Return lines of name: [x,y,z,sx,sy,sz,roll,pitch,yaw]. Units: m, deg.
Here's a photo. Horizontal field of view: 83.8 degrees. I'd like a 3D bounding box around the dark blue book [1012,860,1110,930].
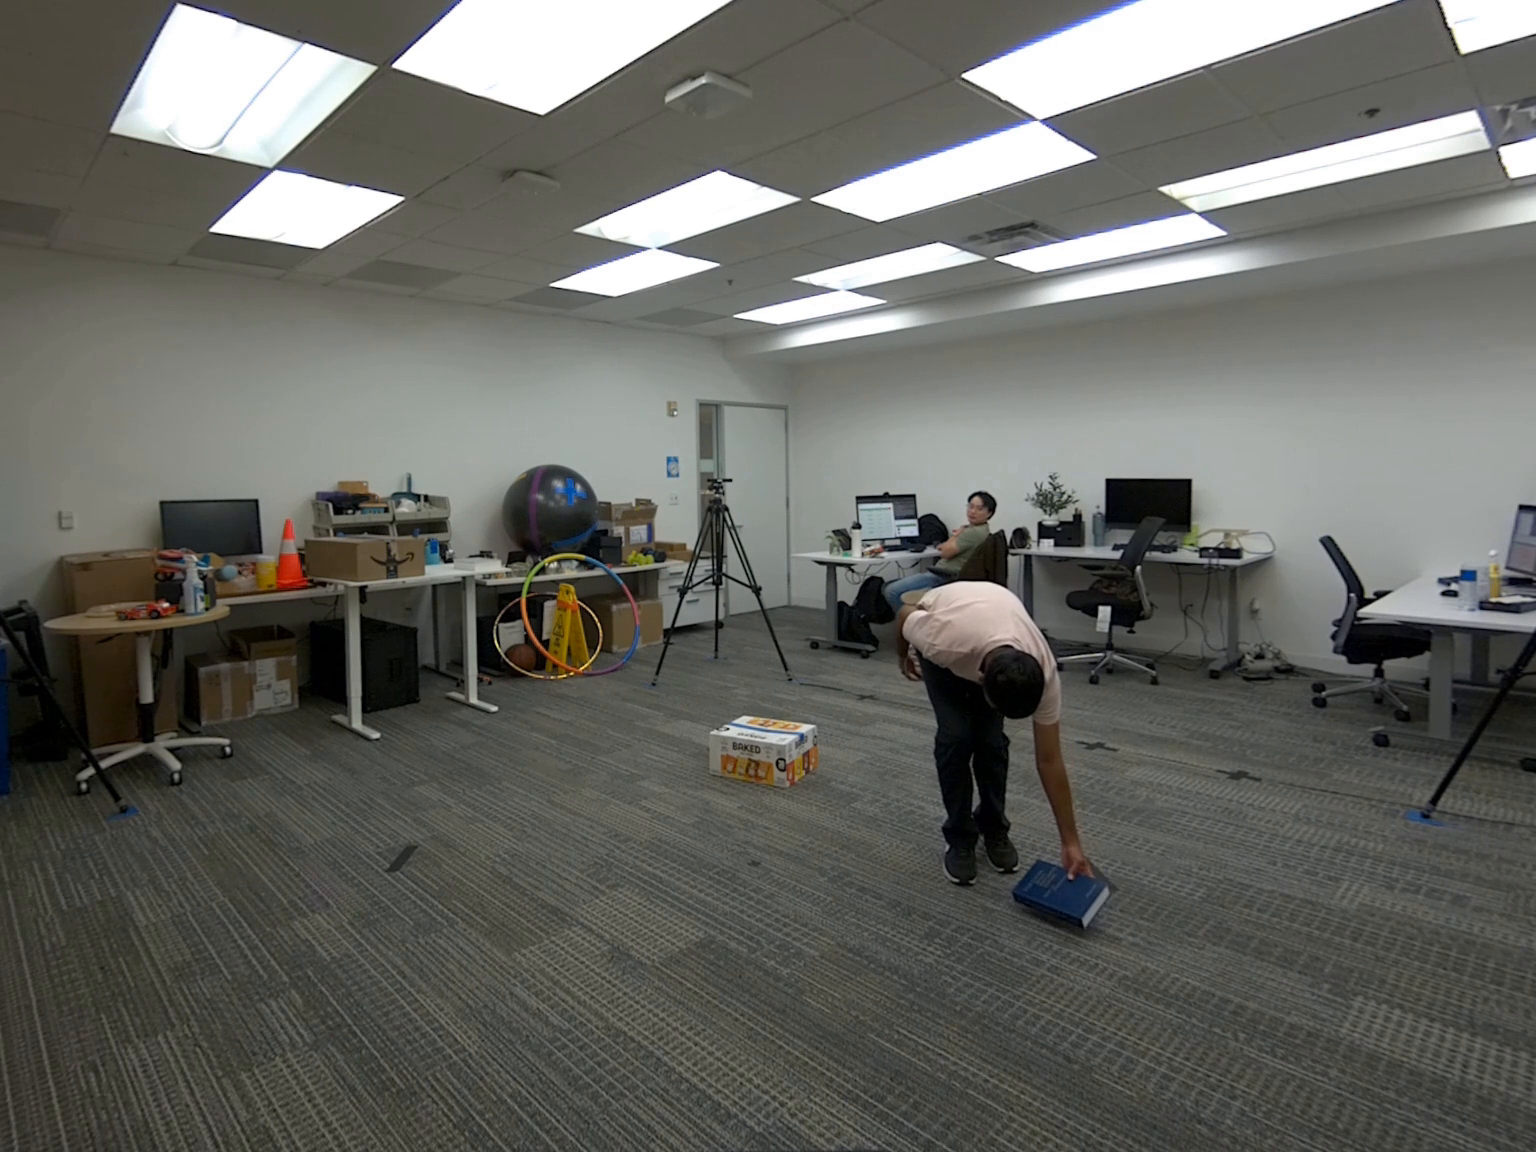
dark blue book: [0.914,0.991,2.675,0.162,0.044,0.252,-34,21,-32]
